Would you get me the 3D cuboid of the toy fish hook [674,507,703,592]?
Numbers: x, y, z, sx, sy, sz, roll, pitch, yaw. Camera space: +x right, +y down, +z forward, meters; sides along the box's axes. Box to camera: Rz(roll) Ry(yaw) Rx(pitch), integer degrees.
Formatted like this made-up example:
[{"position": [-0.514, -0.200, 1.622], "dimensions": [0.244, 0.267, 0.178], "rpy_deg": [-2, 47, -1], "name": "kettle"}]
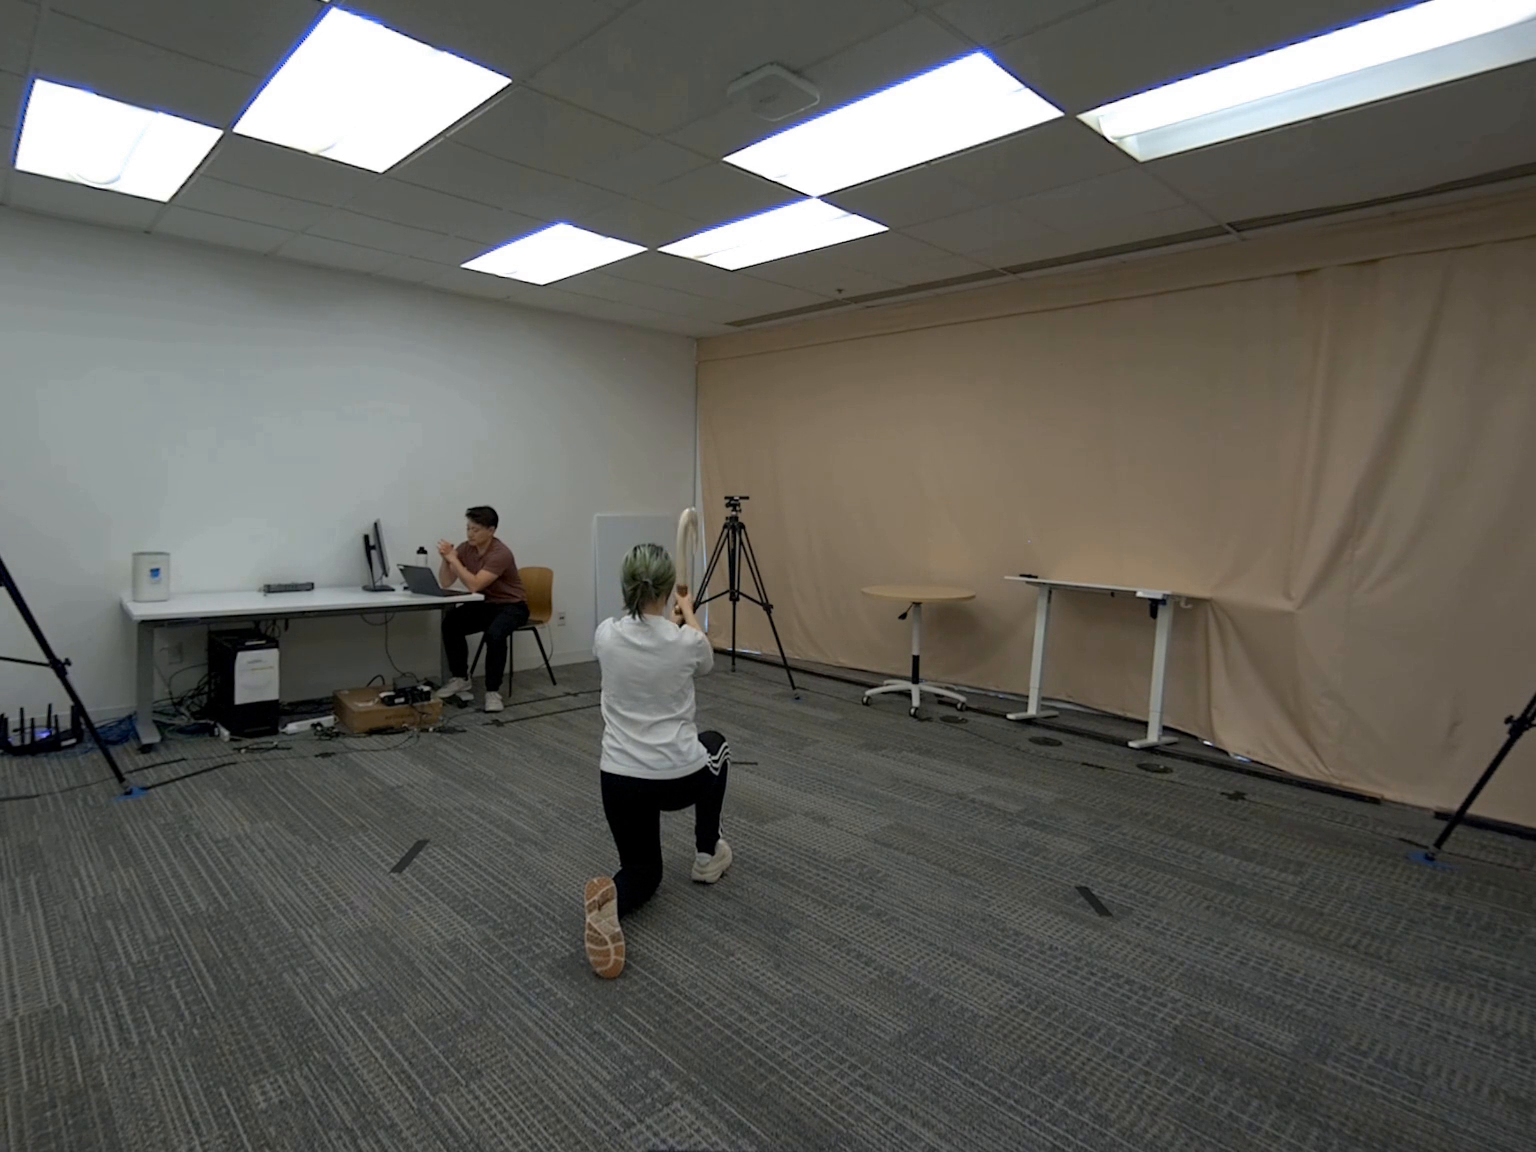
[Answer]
[{"position": [-0.334, -0.006, 3.399], "dimensions": [0.049, 0.504, 0.222], "rpy_deg": [6, 6, 18], "name": "toy fish hook"}]
